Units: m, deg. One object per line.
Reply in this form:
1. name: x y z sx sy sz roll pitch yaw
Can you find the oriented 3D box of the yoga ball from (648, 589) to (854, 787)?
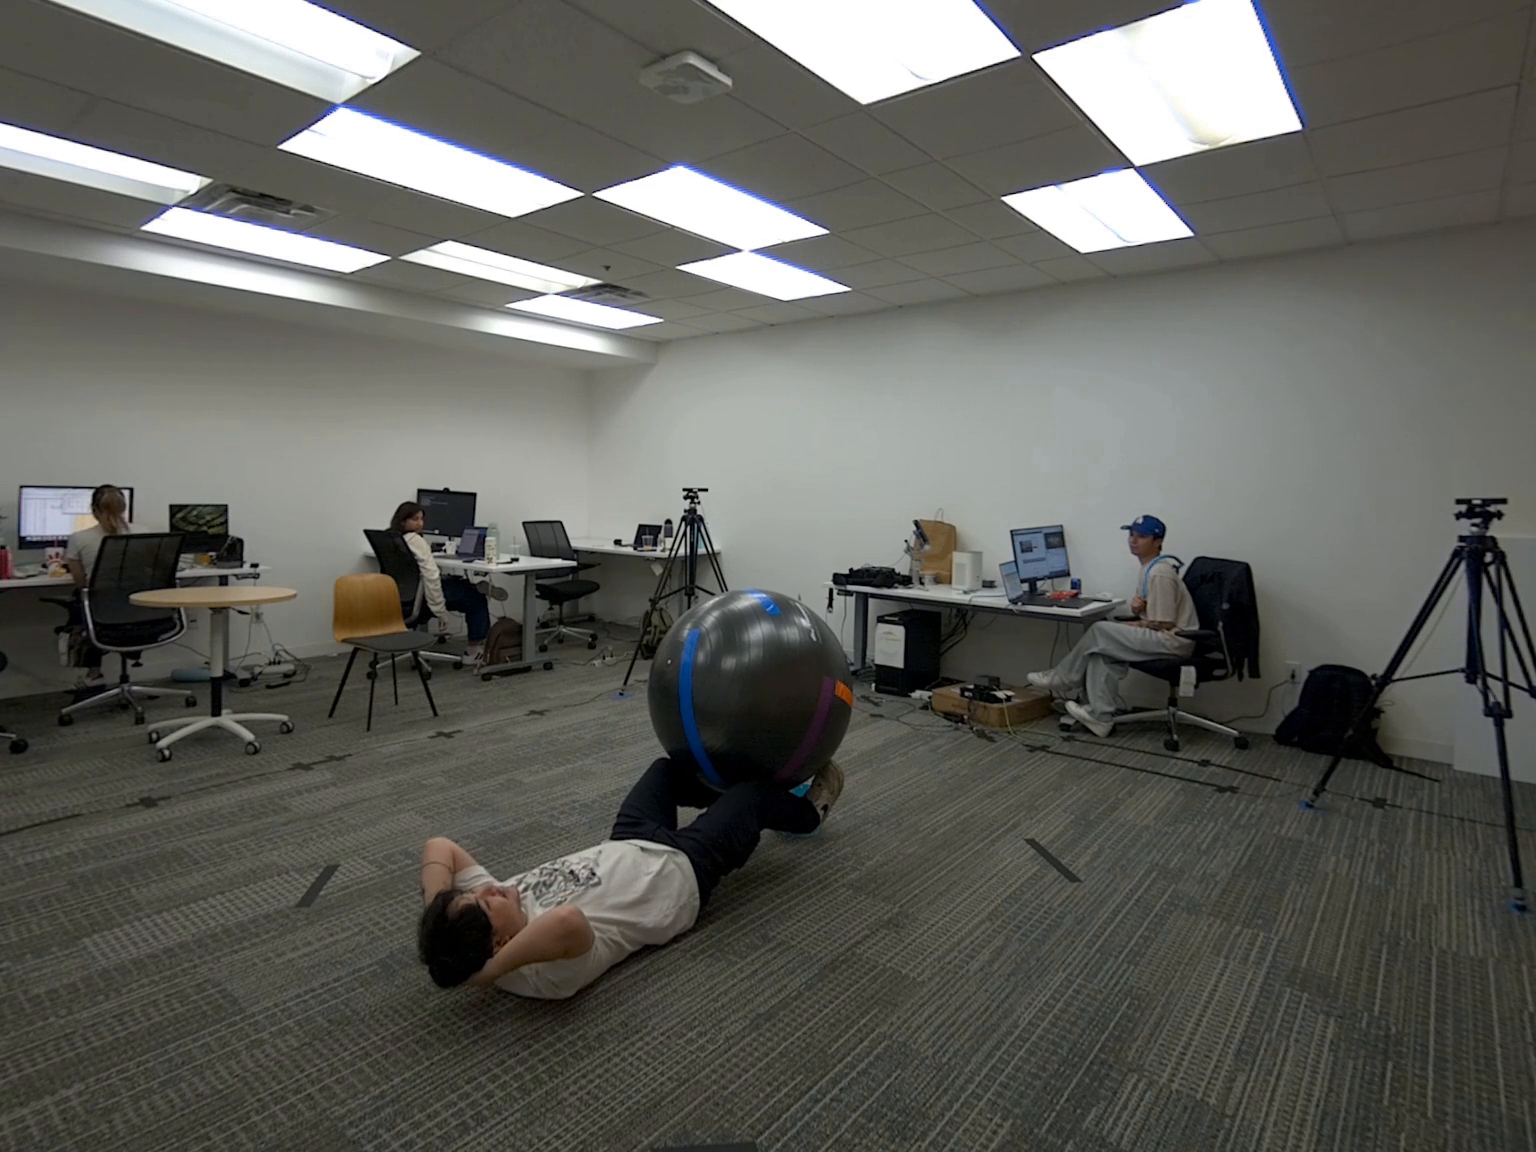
1. yoga ball: -0.078 0.418 3.157 0.757 0.755 0.762 1 4 -2
